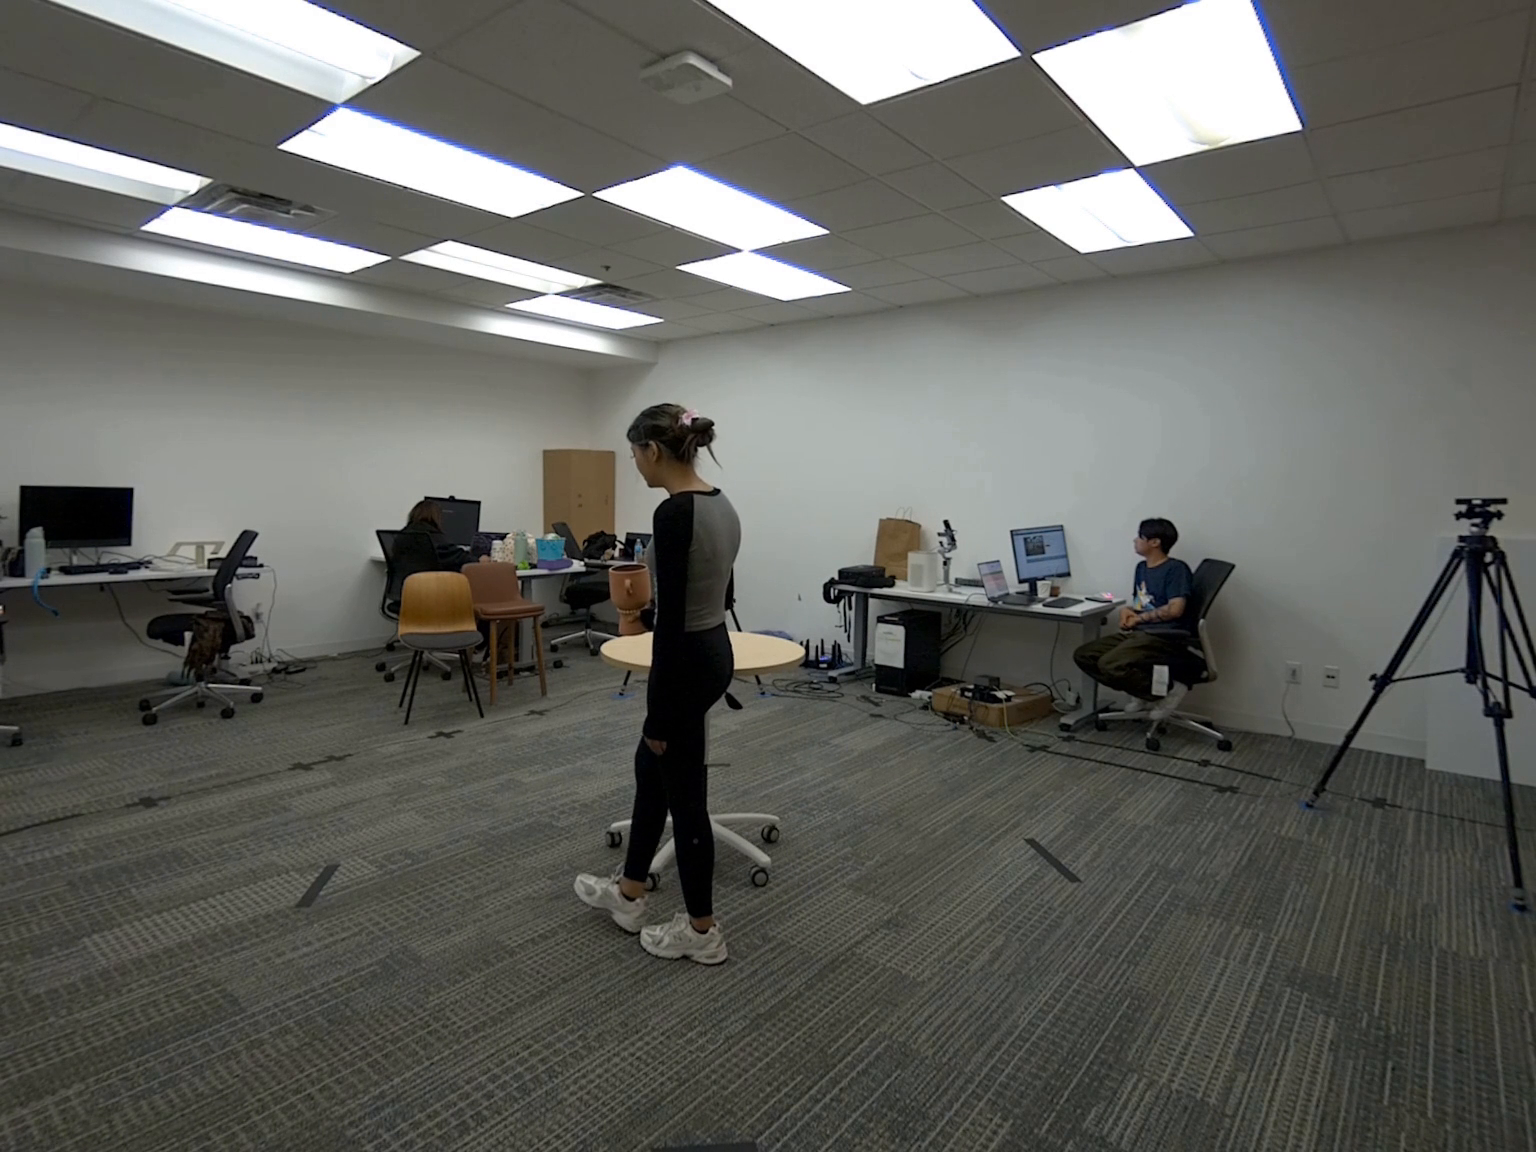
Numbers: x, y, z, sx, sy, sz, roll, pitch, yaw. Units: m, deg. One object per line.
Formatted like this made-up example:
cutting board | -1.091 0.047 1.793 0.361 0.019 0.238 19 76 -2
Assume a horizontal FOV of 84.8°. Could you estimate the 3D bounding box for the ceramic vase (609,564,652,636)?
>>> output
ceramic vase | -0.465 0.078 2.830 0.139 0.217 0.155 5 14 34
